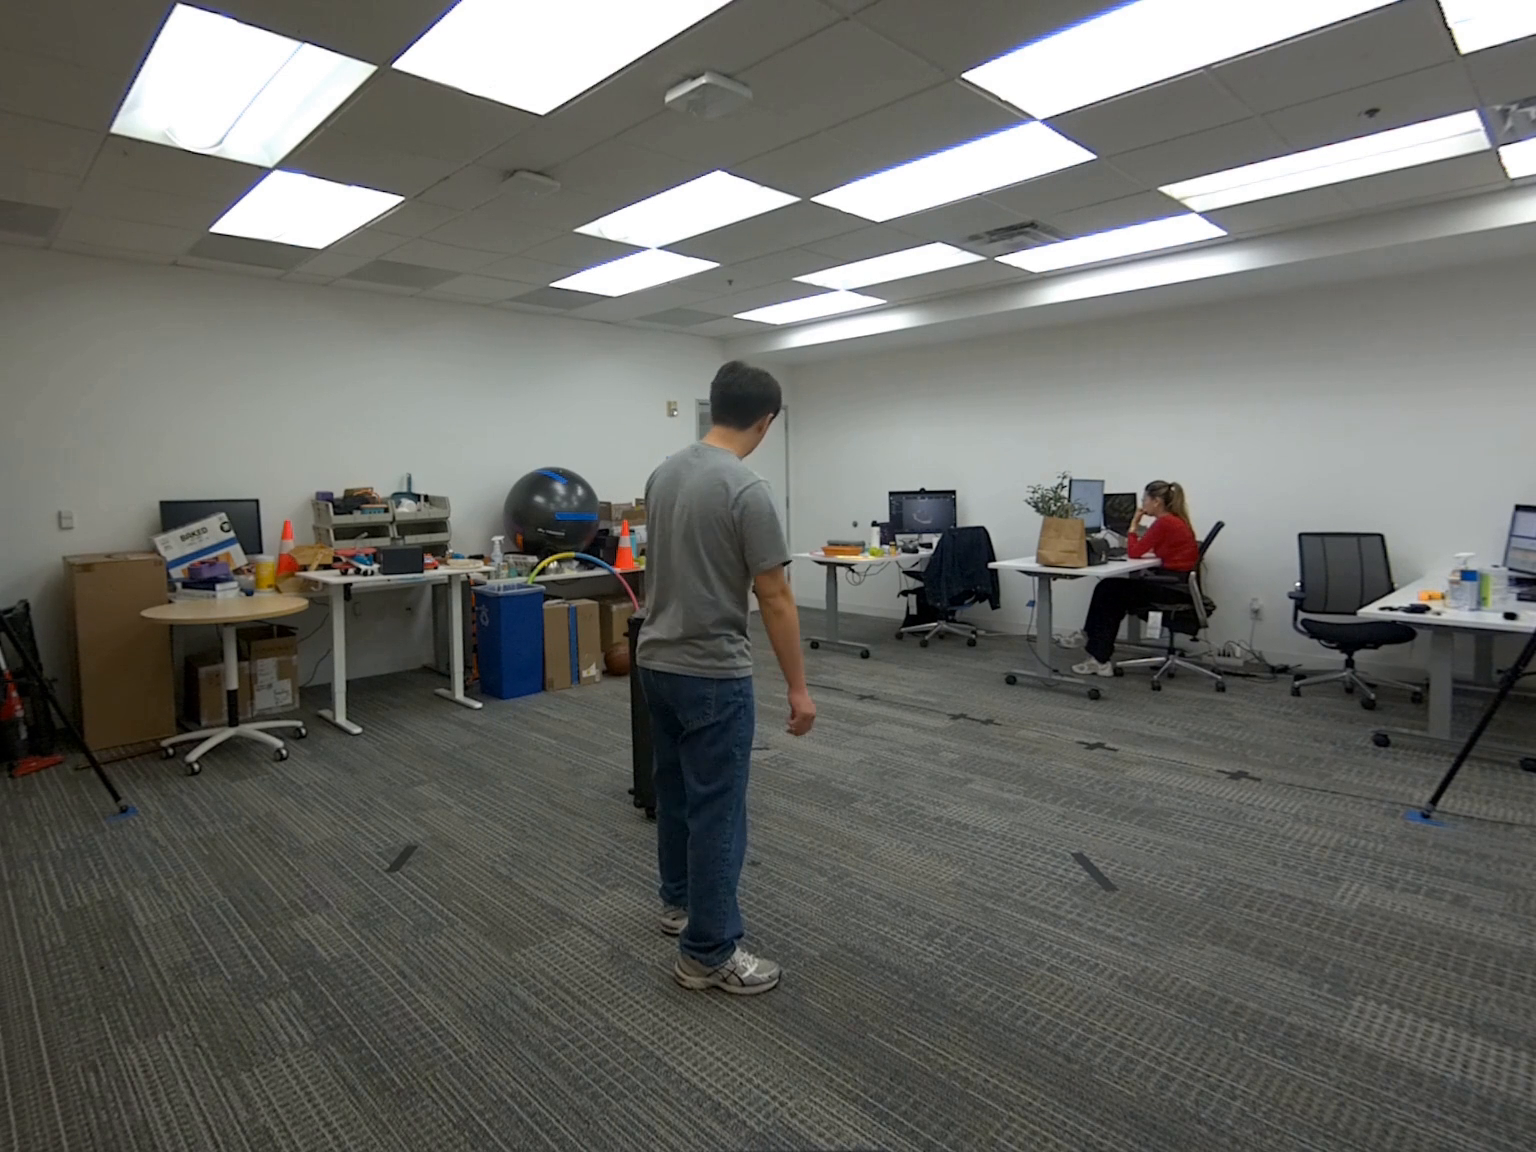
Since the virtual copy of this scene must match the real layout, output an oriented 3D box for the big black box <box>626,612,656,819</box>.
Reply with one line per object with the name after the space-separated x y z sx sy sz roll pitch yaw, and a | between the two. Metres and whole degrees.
-0.363 0.562 3.665 0.399 0.859 0.519 -1 3 7 | big black box
